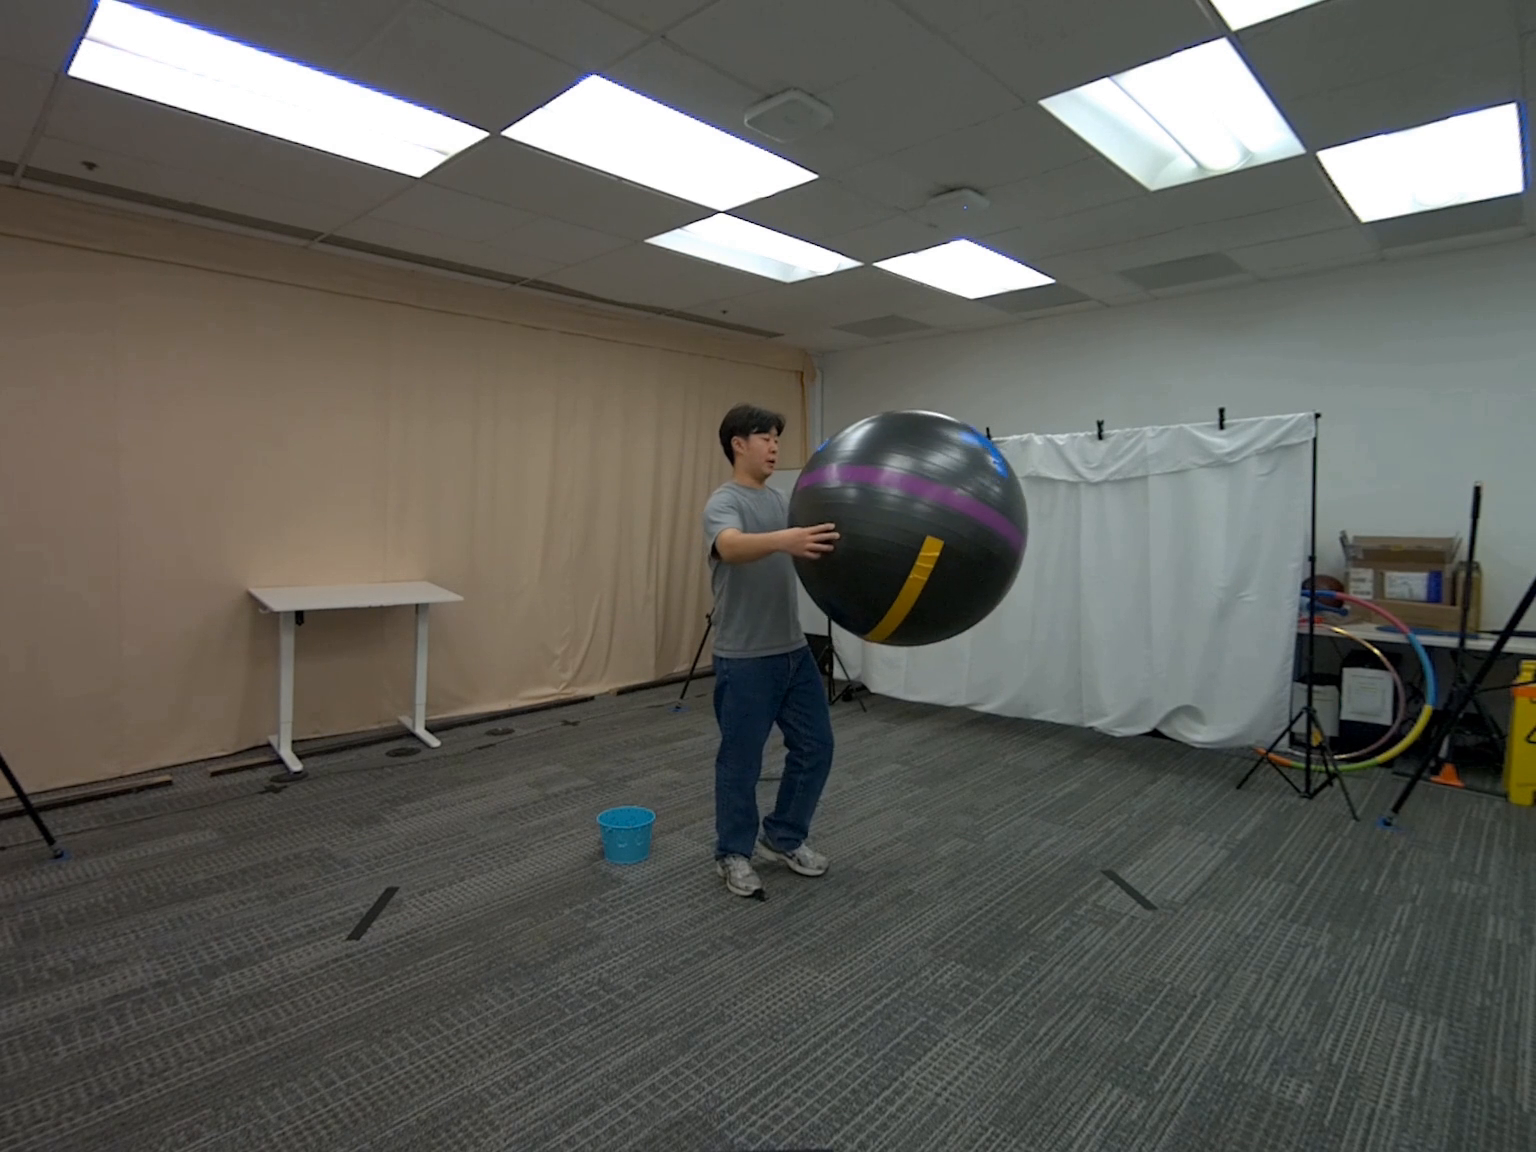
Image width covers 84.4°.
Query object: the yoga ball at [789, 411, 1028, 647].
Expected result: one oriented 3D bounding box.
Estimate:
[{"bbox_3d":[0.455,-0.149,2.734,0.757,0.756,0.761,0,4,-2],"label":"yoga ball"}]
